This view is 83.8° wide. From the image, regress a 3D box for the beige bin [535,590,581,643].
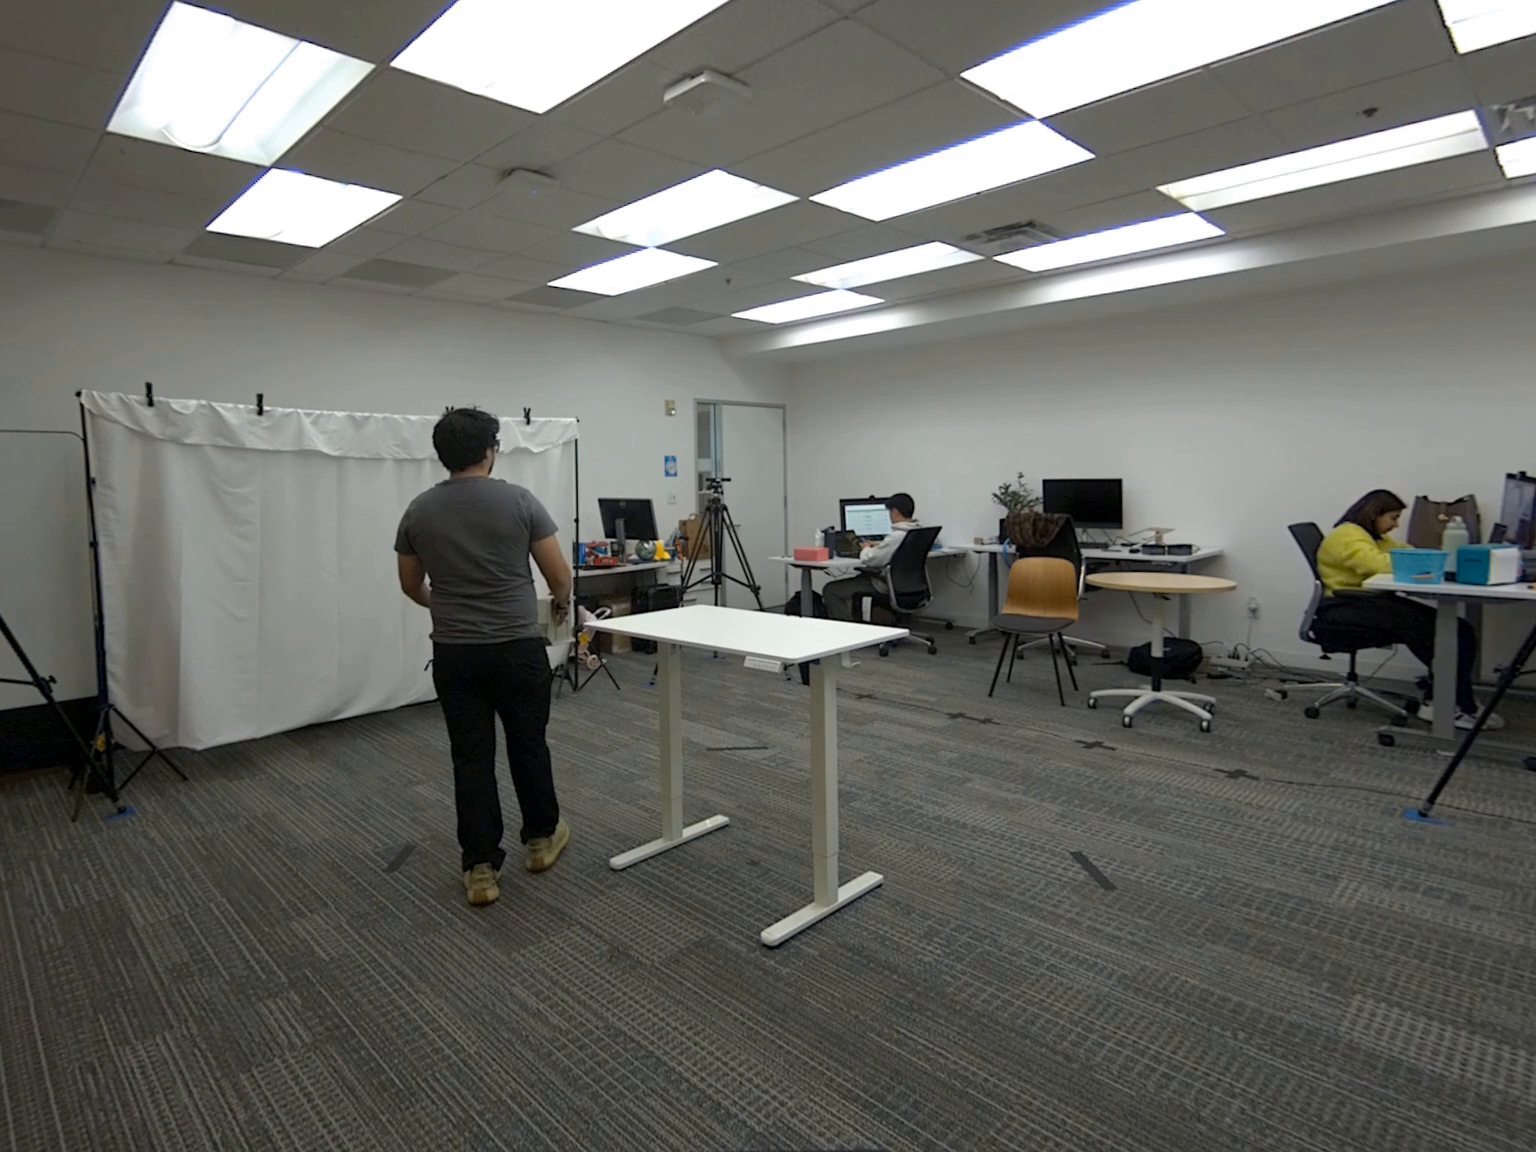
[{"bbox_3d":[-0.993,0.169,3.324,0.424,0.190,0.373,-4,-4,5],"label":"beige bin"}]
